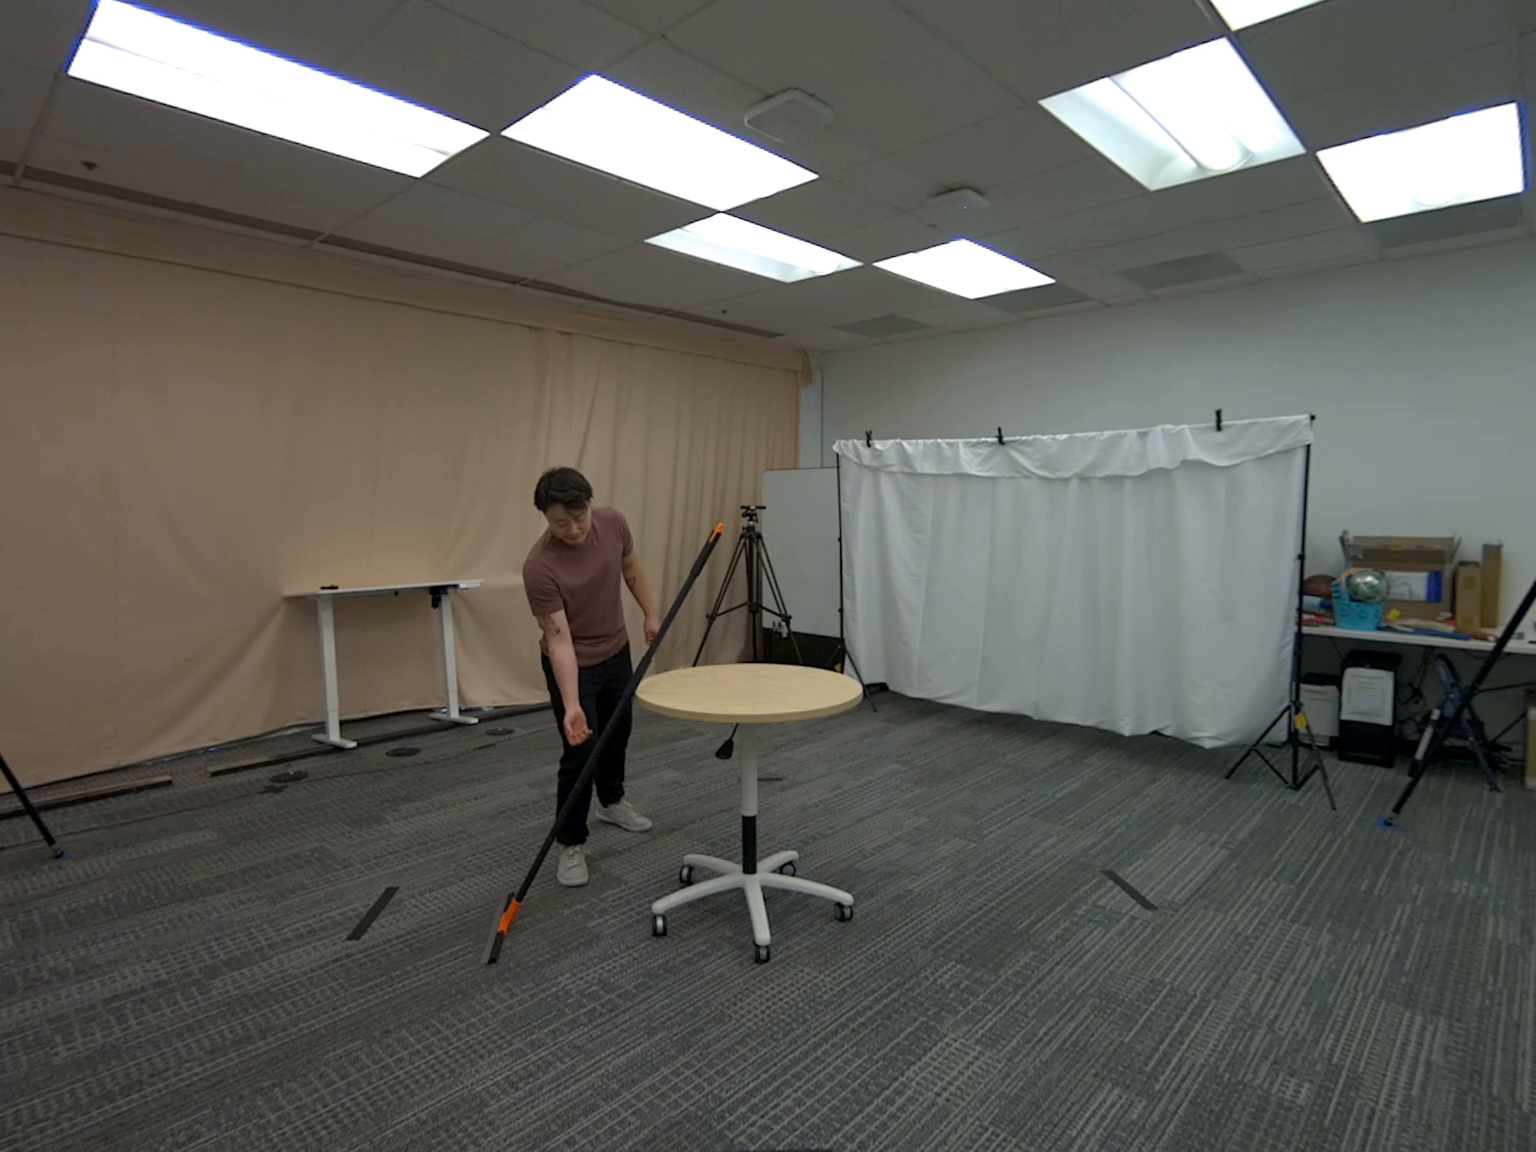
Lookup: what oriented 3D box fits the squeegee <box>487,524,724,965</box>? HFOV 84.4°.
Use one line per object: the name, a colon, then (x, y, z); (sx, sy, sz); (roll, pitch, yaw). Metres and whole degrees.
squeegee: (-0.522, 0.501, 2.772); (0.052, 1.537, 0.440); (29, 1, -7)
